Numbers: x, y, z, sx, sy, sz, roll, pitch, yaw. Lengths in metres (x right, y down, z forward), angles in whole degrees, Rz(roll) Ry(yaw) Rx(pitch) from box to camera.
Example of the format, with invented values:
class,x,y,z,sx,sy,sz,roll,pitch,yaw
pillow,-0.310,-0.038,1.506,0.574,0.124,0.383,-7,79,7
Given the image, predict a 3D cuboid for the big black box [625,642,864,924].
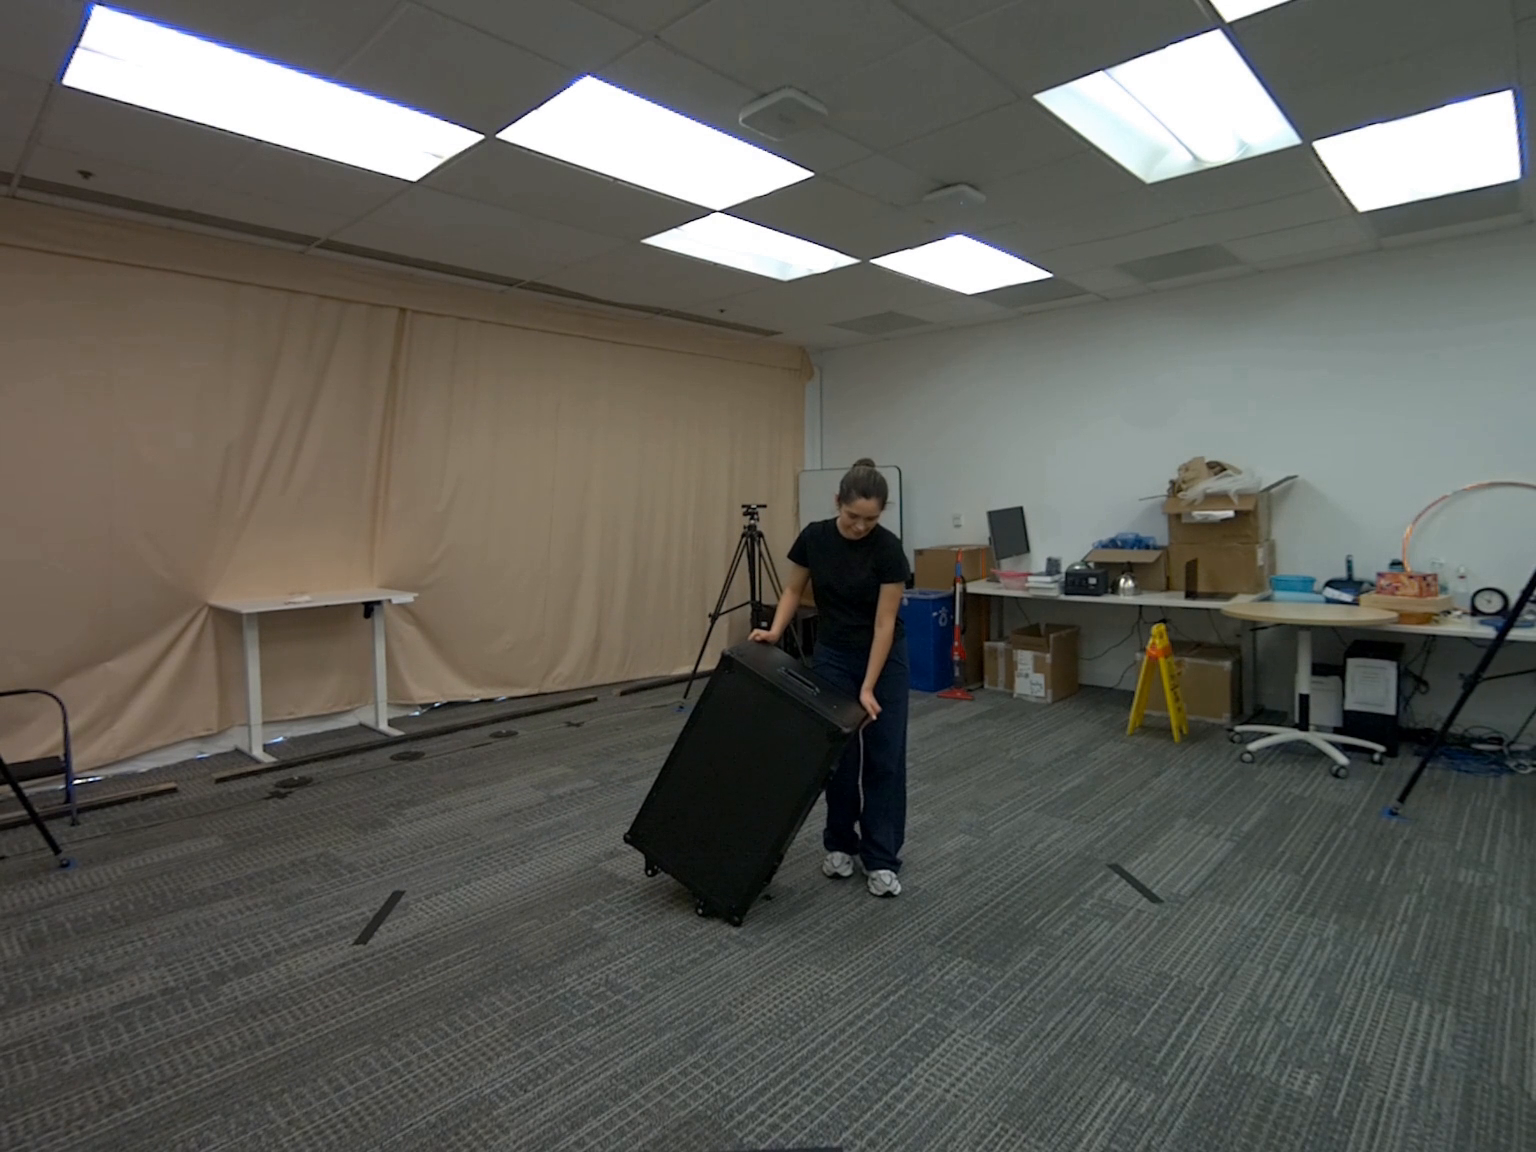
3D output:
class,x,y,z,sx,sy,sz,roll,pitch,yaw
big black box,-0.071,0.713,2.943,0.532,0.861,0.388,32,12,16
